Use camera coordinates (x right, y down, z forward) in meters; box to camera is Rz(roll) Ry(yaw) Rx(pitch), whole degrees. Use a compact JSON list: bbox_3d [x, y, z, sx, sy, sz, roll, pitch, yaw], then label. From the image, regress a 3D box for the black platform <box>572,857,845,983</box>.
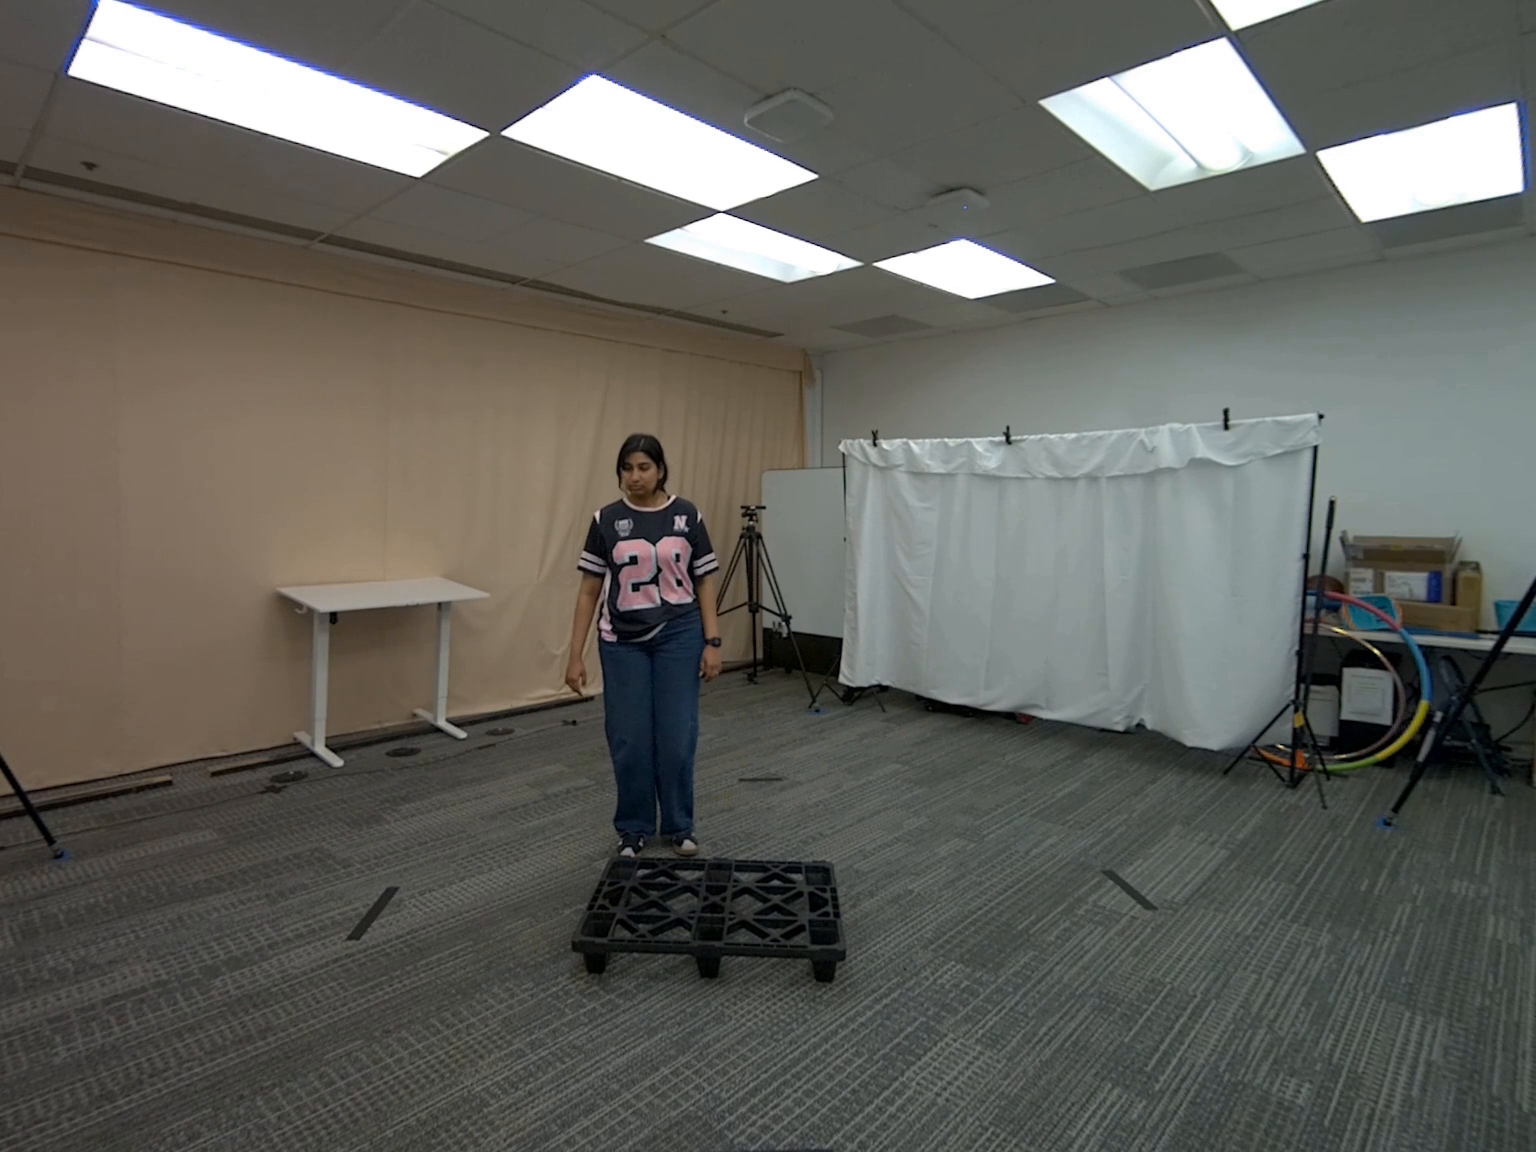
[{"bbox_3d":[-0.169,1.099,2.715,0.809,0.143,0.604,0,4,3],"label":"black platform"}]
